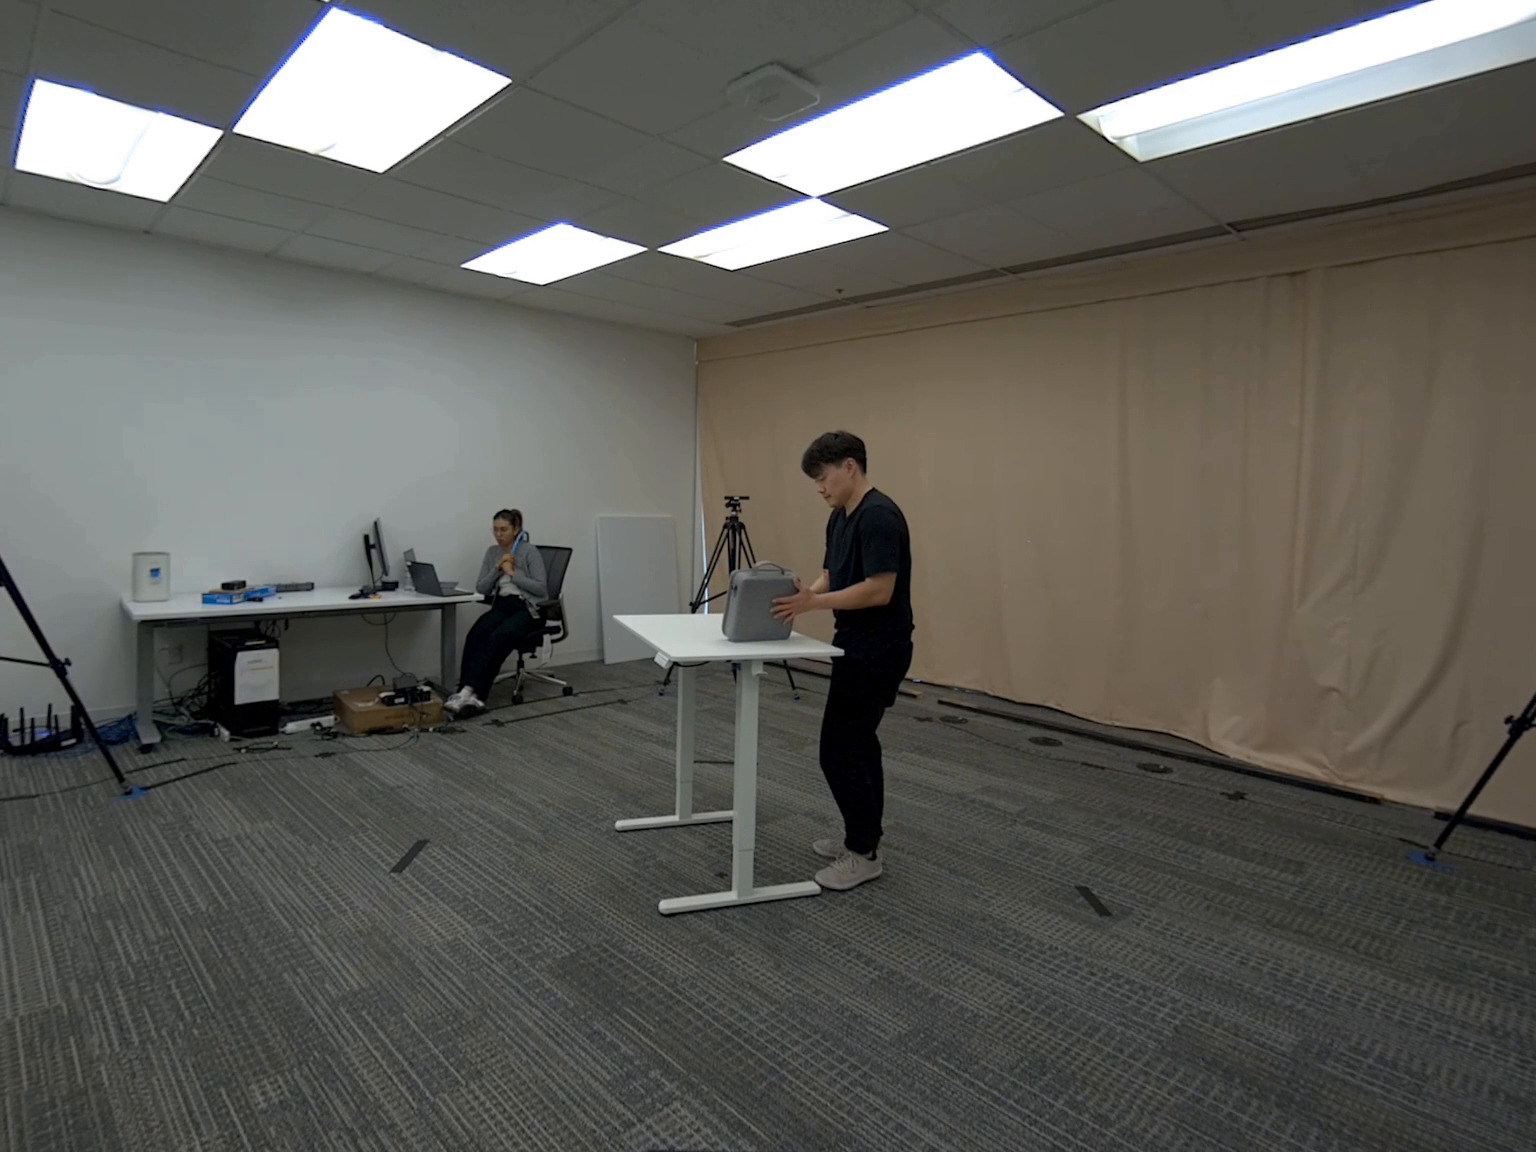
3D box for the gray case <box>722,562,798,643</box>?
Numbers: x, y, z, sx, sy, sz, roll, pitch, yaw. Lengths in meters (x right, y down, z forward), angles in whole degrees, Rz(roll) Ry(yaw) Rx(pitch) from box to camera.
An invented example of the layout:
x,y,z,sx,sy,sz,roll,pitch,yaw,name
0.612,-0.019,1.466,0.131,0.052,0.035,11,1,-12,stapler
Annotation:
x,y,z,sx,sy,sz,roll,pitch,yaw,name
-0.030,0.100,2.997,0.252,0.258,0.107,1,17,-26,gray case
